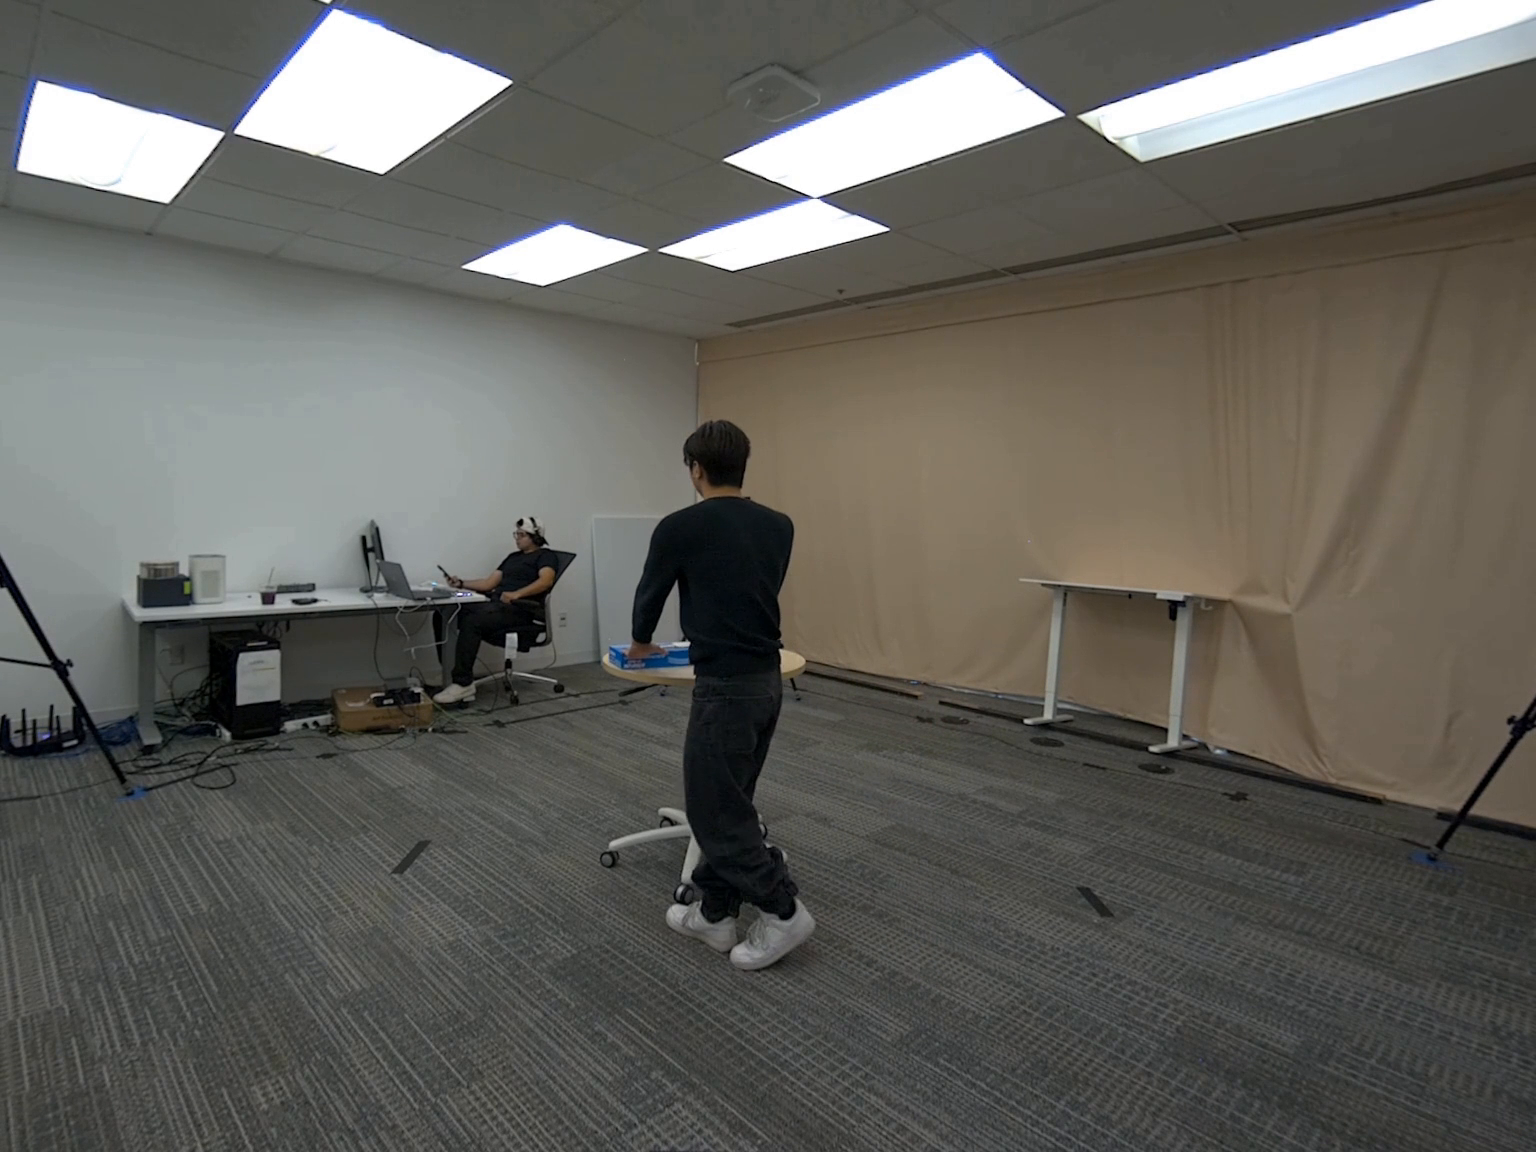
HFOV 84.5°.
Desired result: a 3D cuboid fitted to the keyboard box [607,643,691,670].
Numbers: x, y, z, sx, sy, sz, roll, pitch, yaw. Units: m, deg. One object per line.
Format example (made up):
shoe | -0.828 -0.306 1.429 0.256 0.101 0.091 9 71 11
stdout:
keyboard box | -0.377 0.294 3.115 0.428 0.059 0.180 0 3 -28
